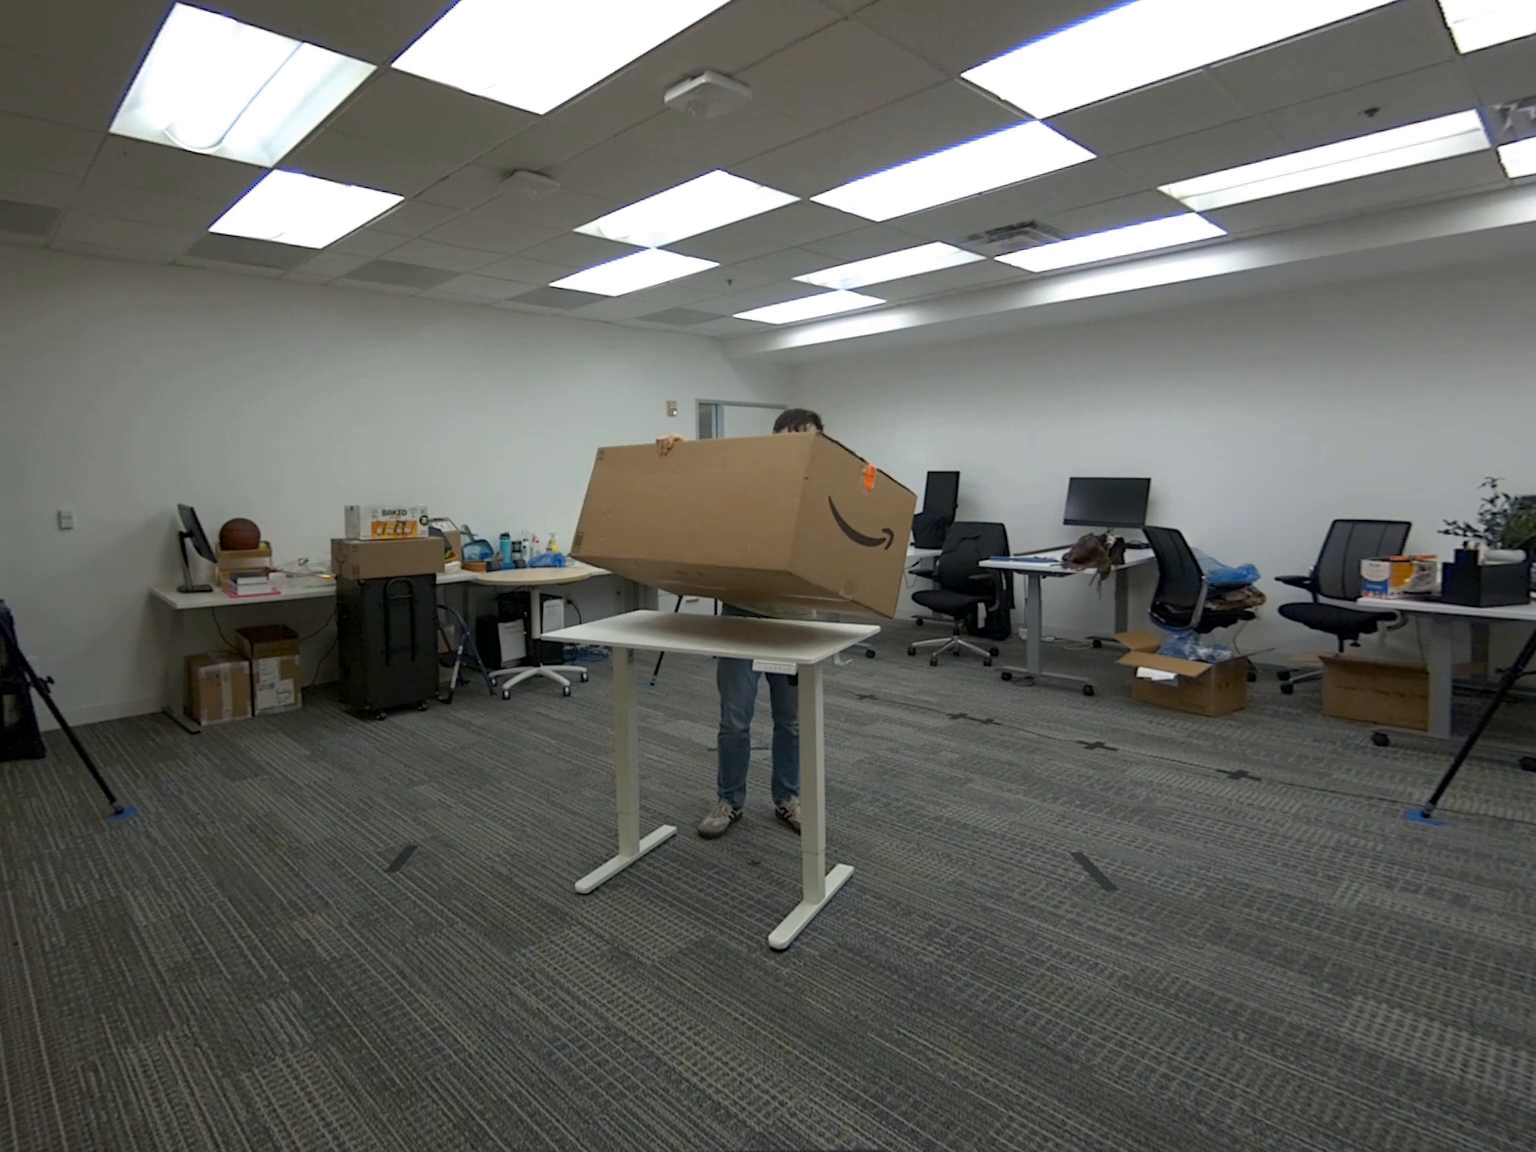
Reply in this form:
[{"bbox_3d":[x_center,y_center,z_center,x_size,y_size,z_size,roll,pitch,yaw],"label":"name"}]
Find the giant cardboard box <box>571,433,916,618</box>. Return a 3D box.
[{"bbox_3d":[-0.112,-0.169,2.945,1.057,0.429,0.556,4,-14,42],"label":"giant cardboard box"}]
